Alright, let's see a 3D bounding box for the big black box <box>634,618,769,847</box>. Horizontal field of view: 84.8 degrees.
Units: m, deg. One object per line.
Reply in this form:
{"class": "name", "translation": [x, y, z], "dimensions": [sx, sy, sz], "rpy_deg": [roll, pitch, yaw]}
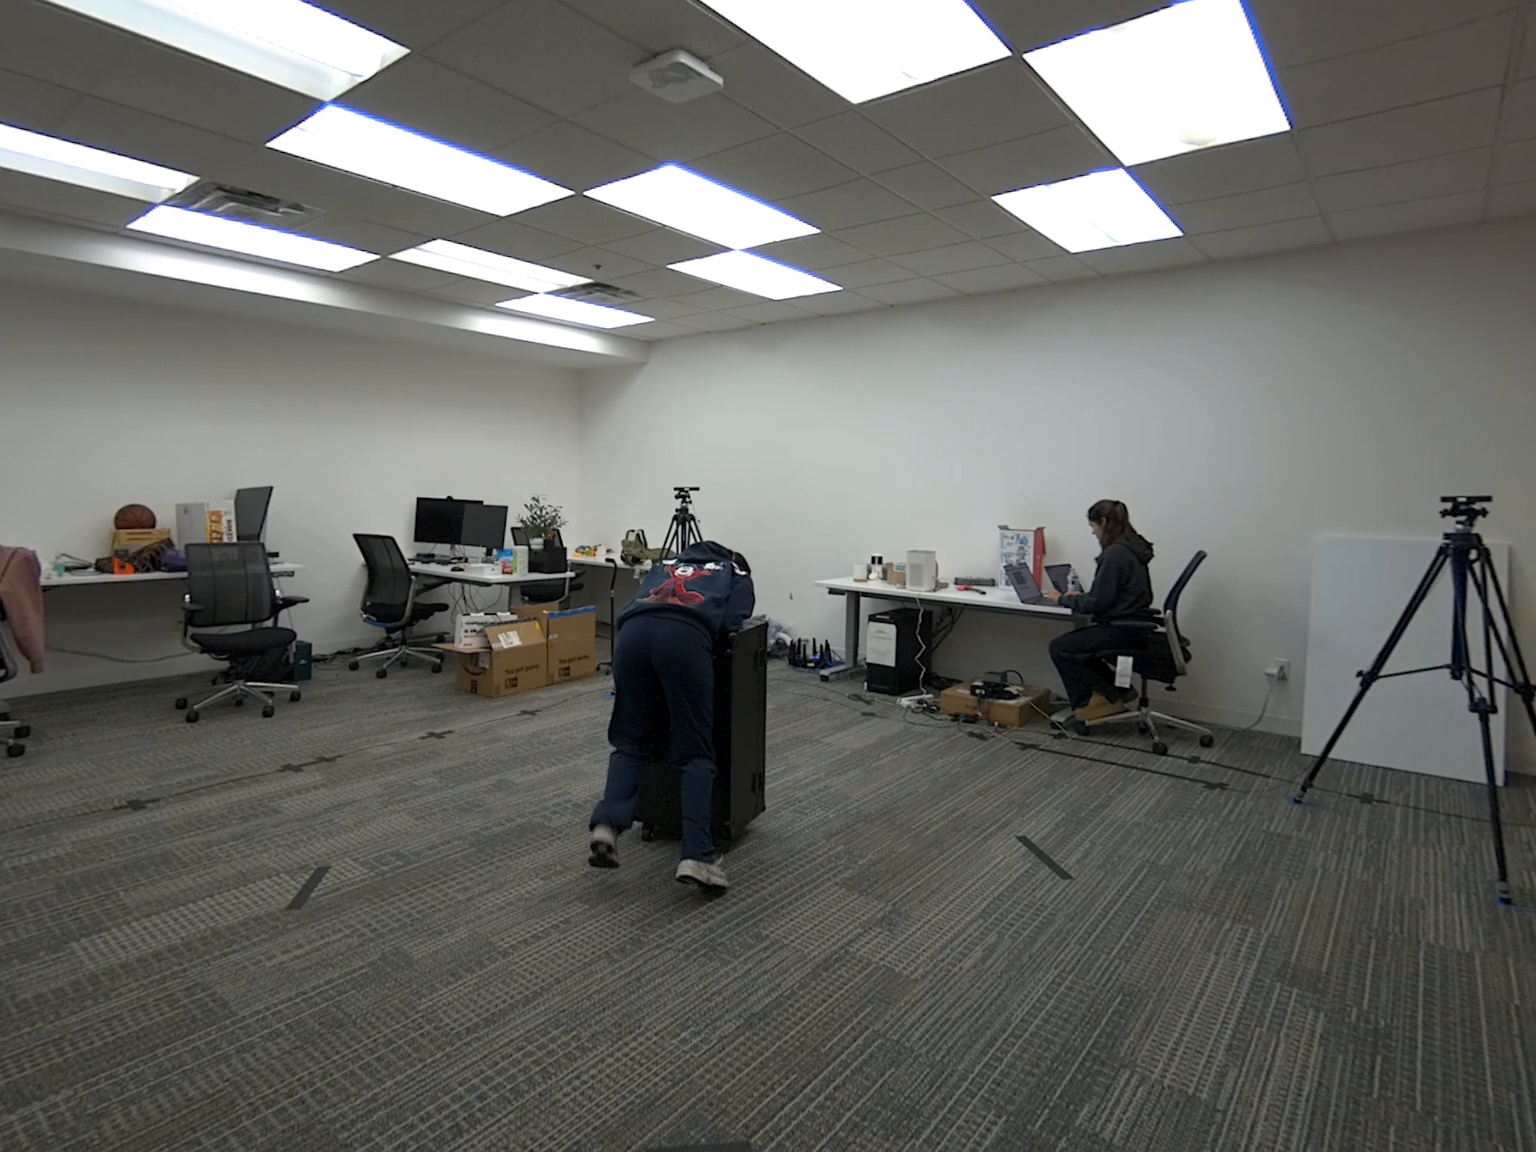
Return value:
{"class": "big black box", "translation": [-0.302, 0.614, 3.415], "dimensions": [0.534, 0.859, 0.388], "rpy_deg": [3, 4, 24]}
